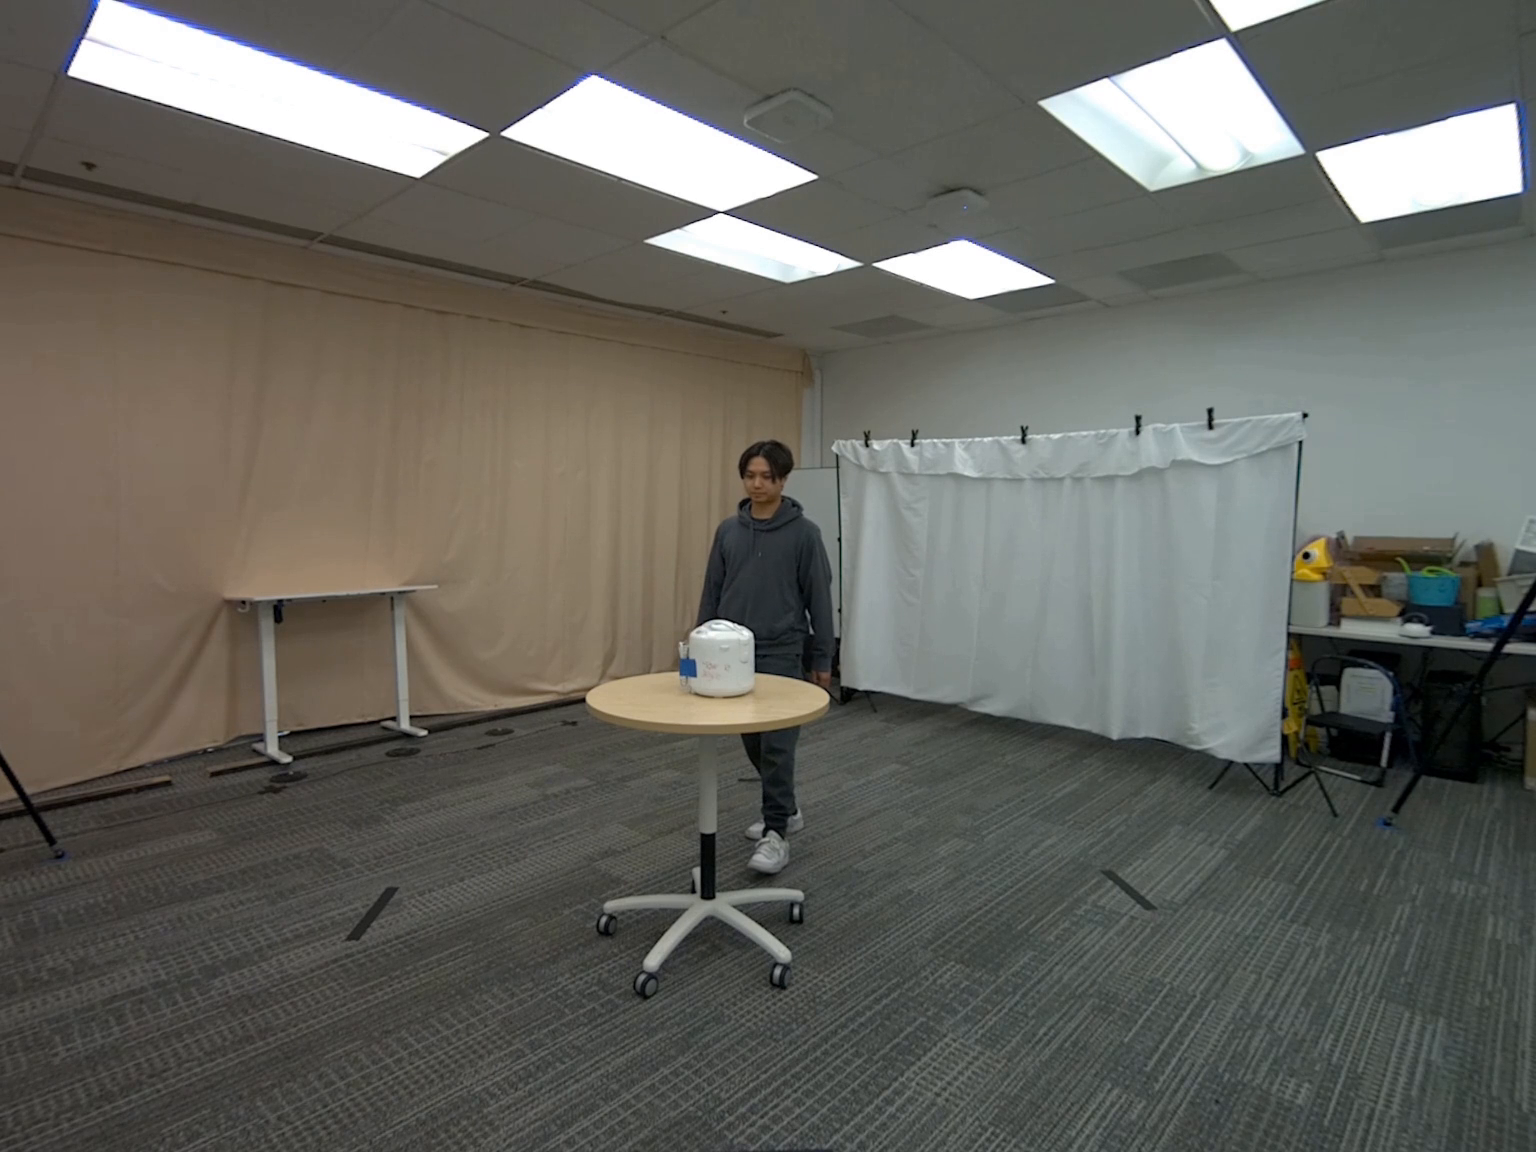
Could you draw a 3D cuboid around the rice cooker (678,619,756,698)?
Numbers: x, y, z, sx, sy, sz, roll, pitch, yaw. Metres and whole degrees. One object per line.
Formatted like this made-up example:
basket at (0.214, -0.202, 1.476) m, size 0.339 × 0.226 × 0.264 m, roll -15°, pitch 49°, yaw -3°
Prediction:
rice cooker at (-0.148, 0.257, 2.692) m, size 0.228 × 0.232 × 0.211 m, roll 4°, pitch 5°, yaw 44°
